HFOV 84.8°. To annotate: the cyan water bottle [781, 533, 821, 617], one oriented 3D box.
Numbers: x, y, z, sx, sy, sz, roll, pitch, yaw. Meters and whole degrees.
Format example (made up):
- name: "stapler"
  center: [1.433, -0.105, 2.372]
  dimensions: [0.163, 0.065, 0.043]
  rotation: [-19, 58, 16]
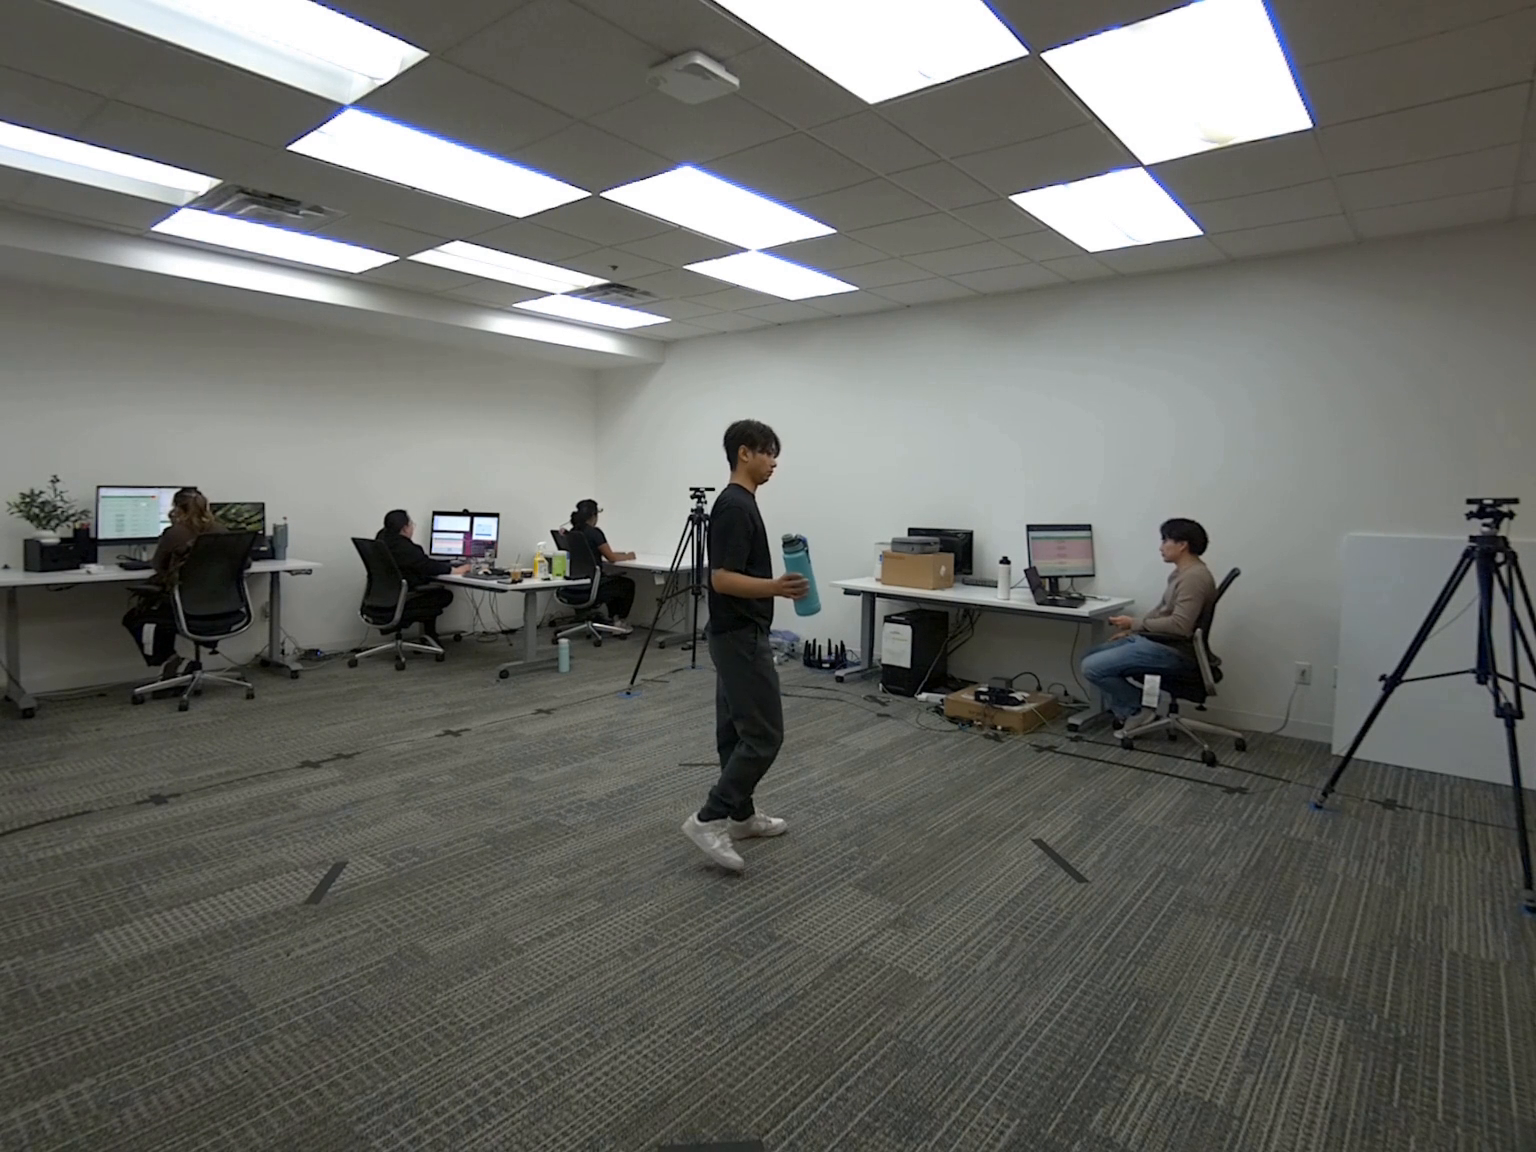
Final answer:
- name: "cyan water bottle"
  center: [0.107, -0.010, 2.896]
  dimensions: [0.092, 0.279, 0.093]
  rotation: [-12, 14, 2]
